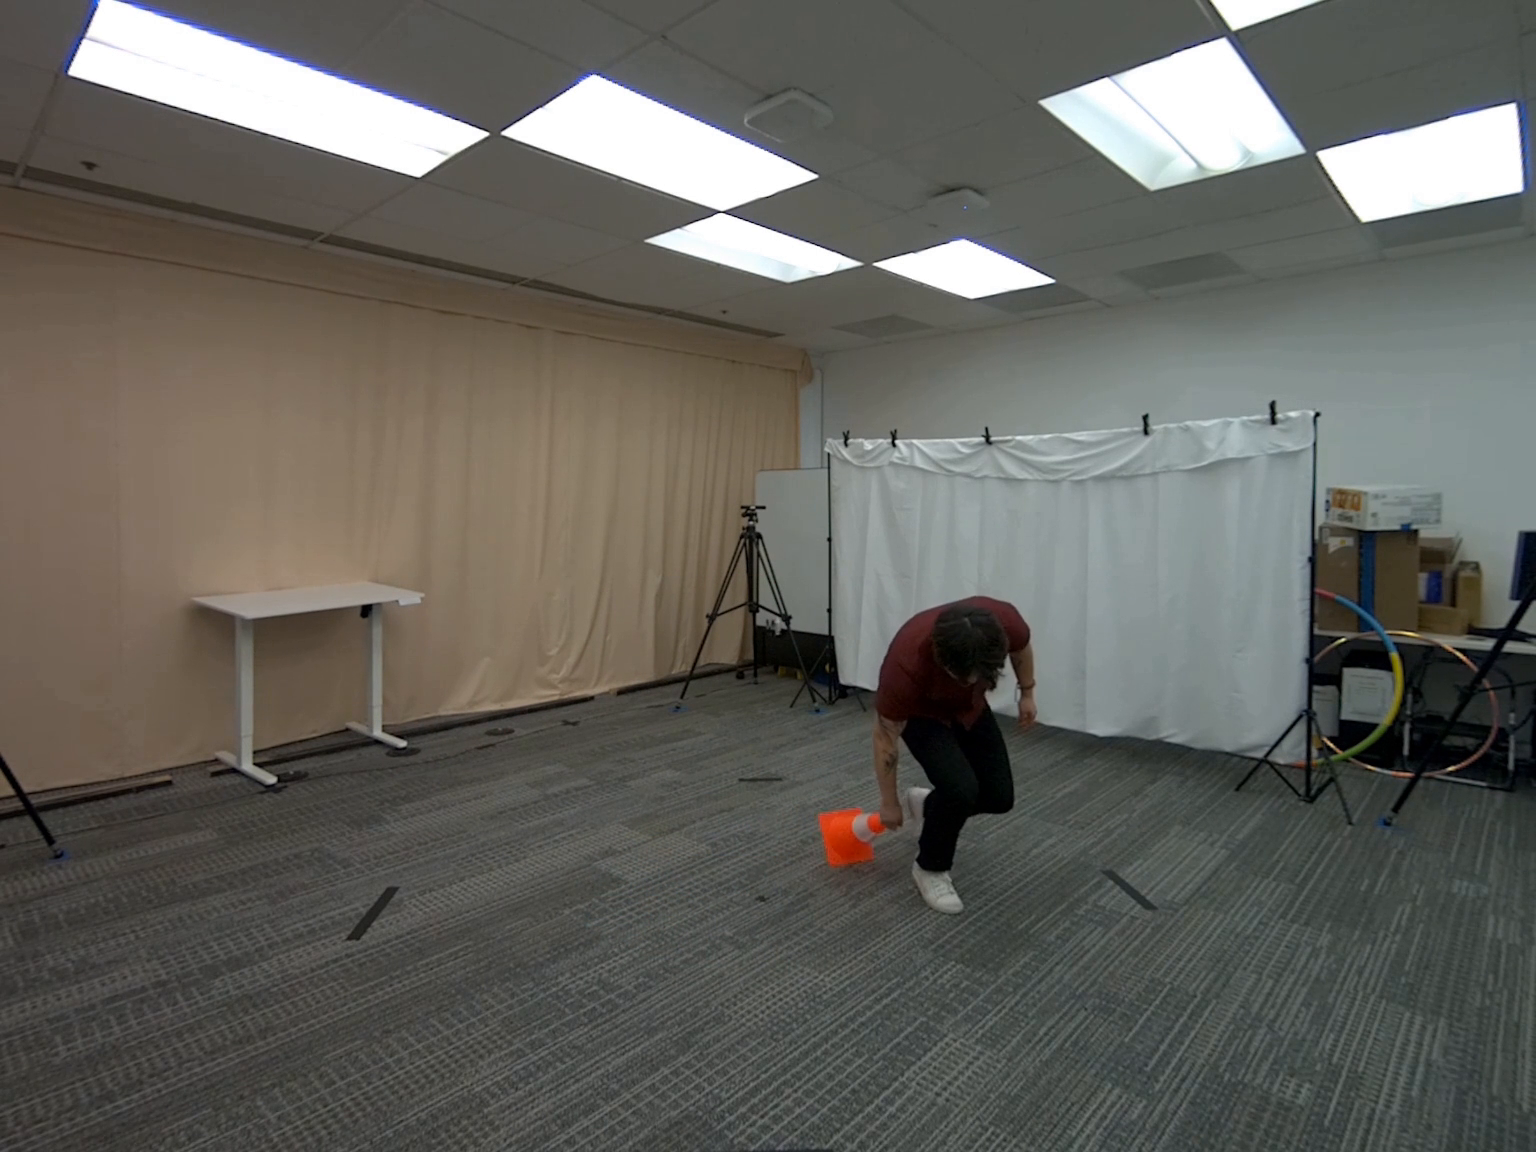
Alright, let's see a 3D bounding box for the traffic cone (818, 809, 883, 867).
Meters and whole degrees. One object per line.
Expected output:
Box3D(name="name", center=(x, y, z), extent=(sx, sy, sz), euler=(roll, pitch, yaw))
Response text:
Box3D(name="traffic cone", center=(0.391, 0.953, 3.161), extent=(0.200, 0.207, 0.386), euler=(2, -25, -24))
